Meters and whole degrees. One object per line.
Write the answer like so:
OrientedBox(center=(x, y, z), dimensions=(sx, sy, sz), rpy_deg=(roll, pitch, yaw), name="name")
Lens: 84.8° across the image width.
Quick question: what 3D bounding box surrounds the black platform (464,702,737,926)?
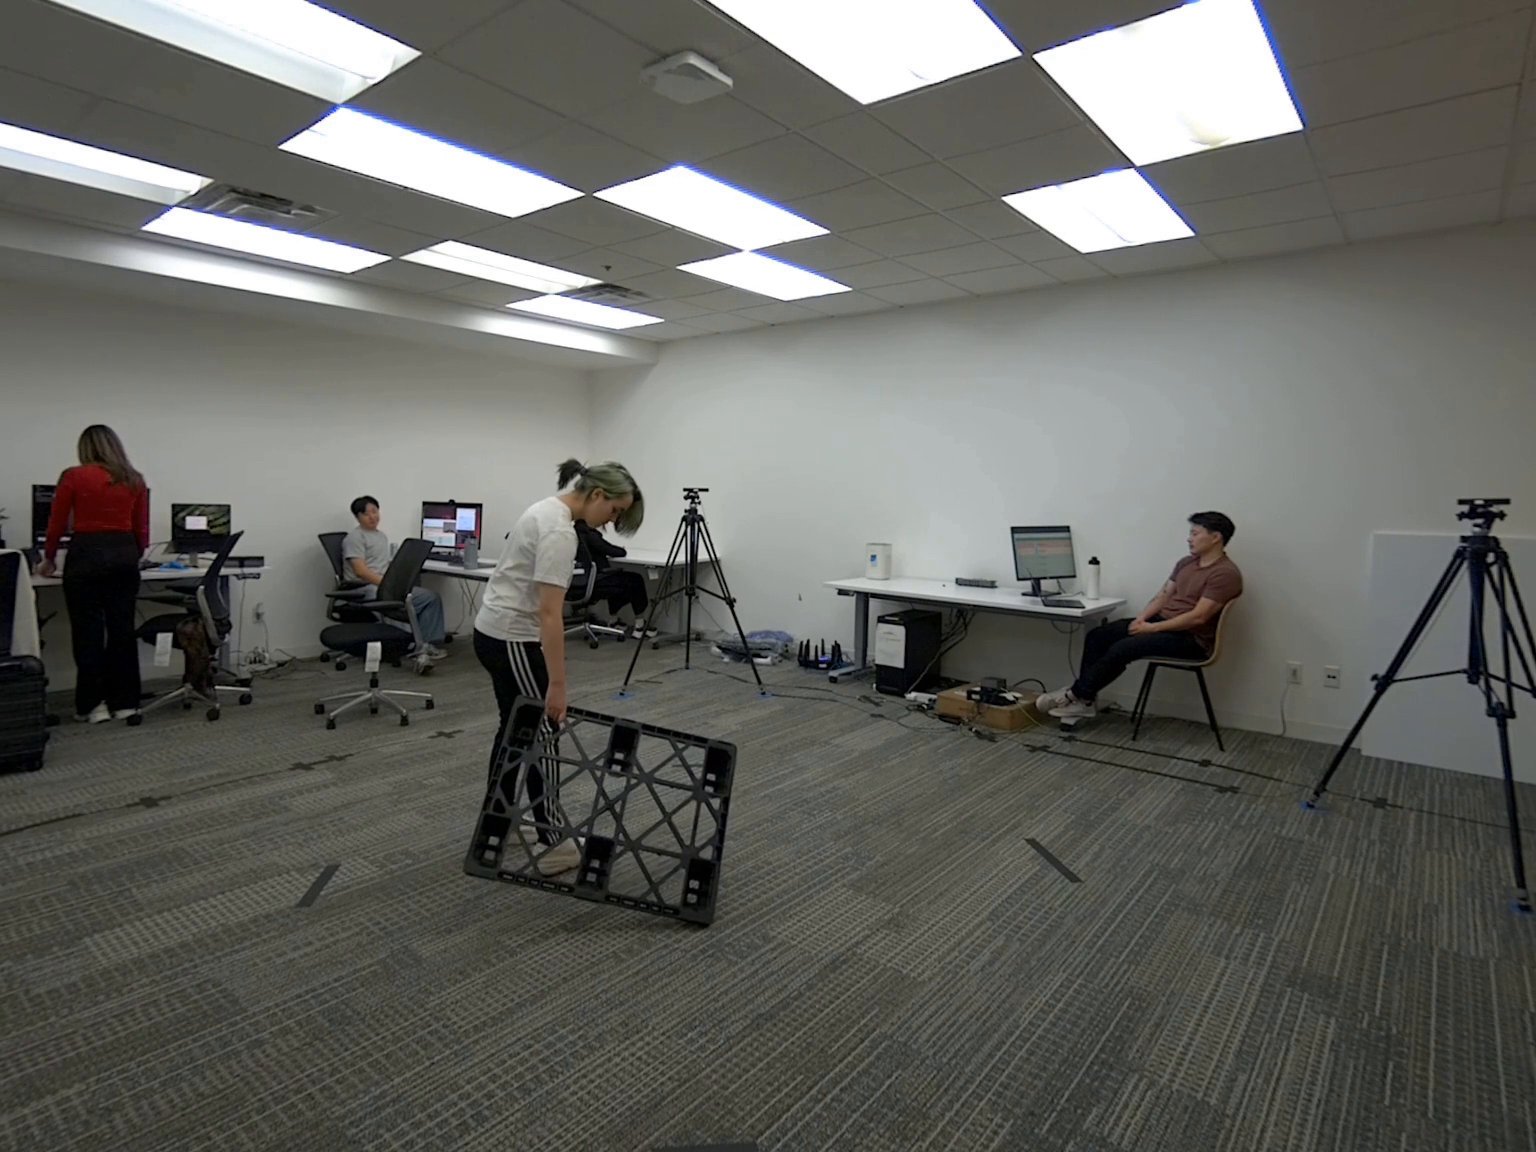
OrientedBox(center=(-0.545, 0.787, 2.859), dimensions=(0.801, 0.617, 0.141), rpy_deg=(13, -32, -5), name="black platform")
